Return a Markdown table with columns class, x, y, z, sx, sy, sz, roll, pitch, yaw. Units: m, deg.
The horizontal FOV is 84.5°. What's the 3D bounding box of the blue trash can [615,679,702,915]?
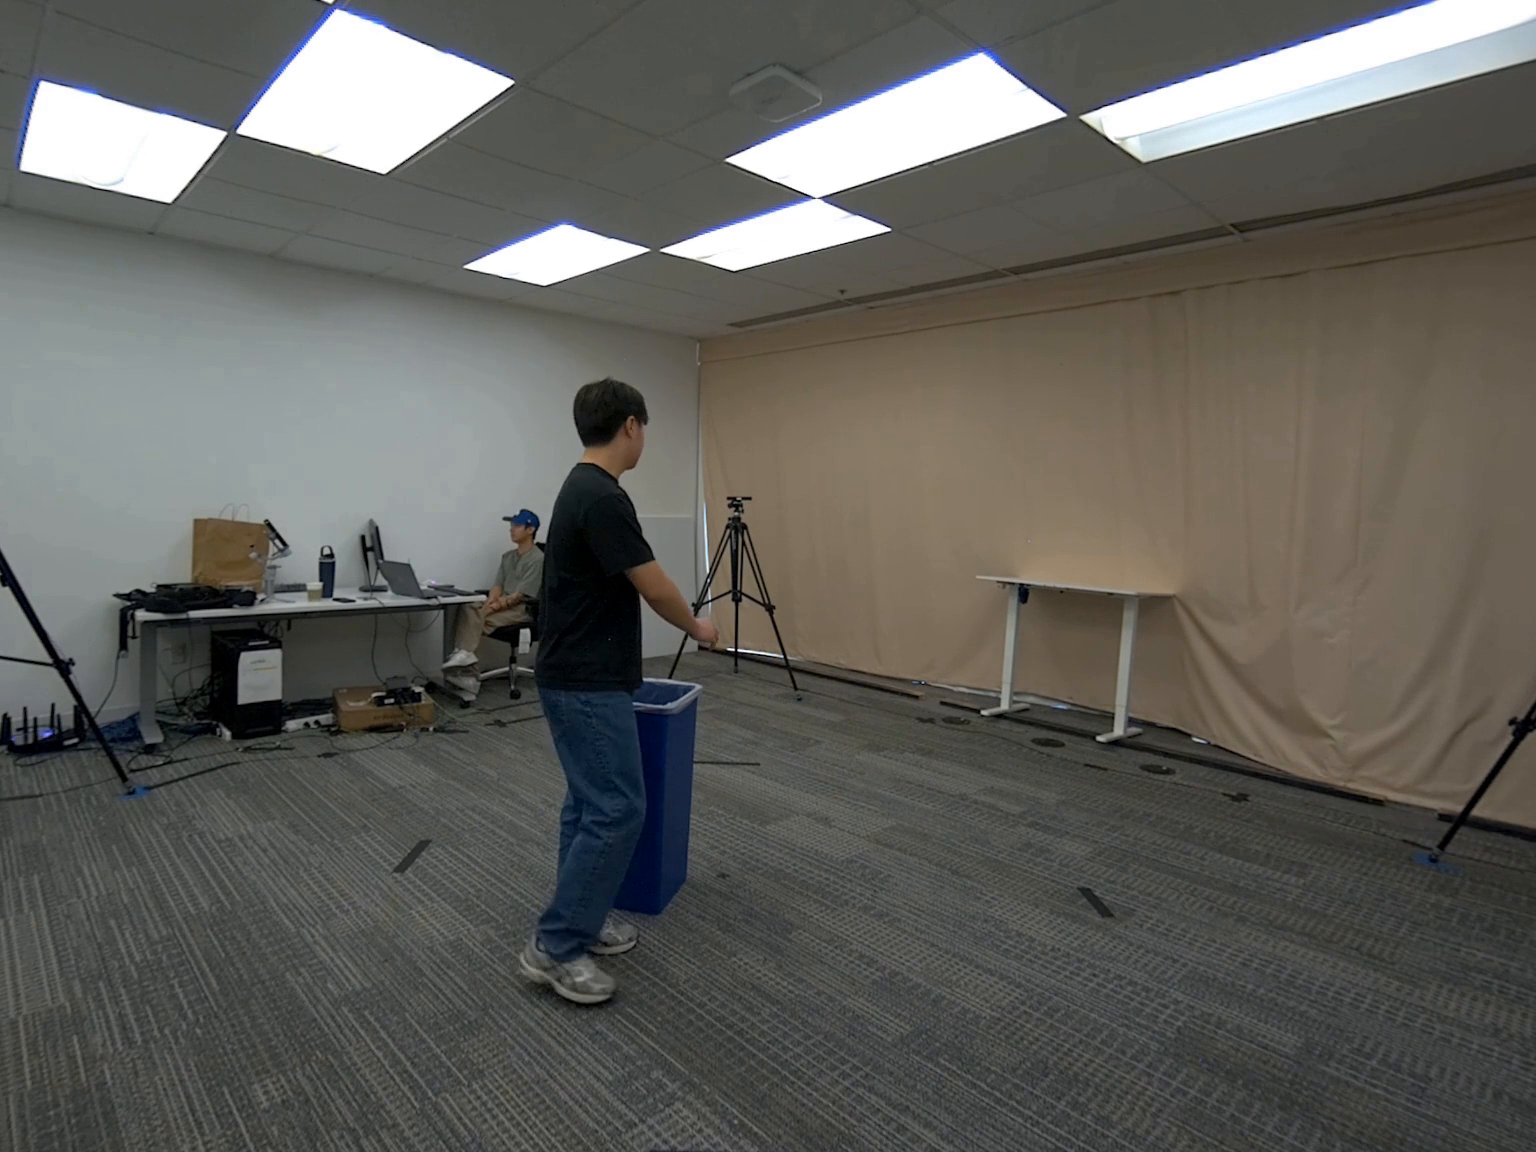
| class | x | y | z | sx | sy | sz | roll | pitch | yaw |
| --- | --- | --- | --- | --- | --- | --- | --- | --- | --- |
| blue trash can | -0.468 | 0.754 | 2.953 | 0.379 | 0.712 | 0.374 | 4 | 4 | 14 |
